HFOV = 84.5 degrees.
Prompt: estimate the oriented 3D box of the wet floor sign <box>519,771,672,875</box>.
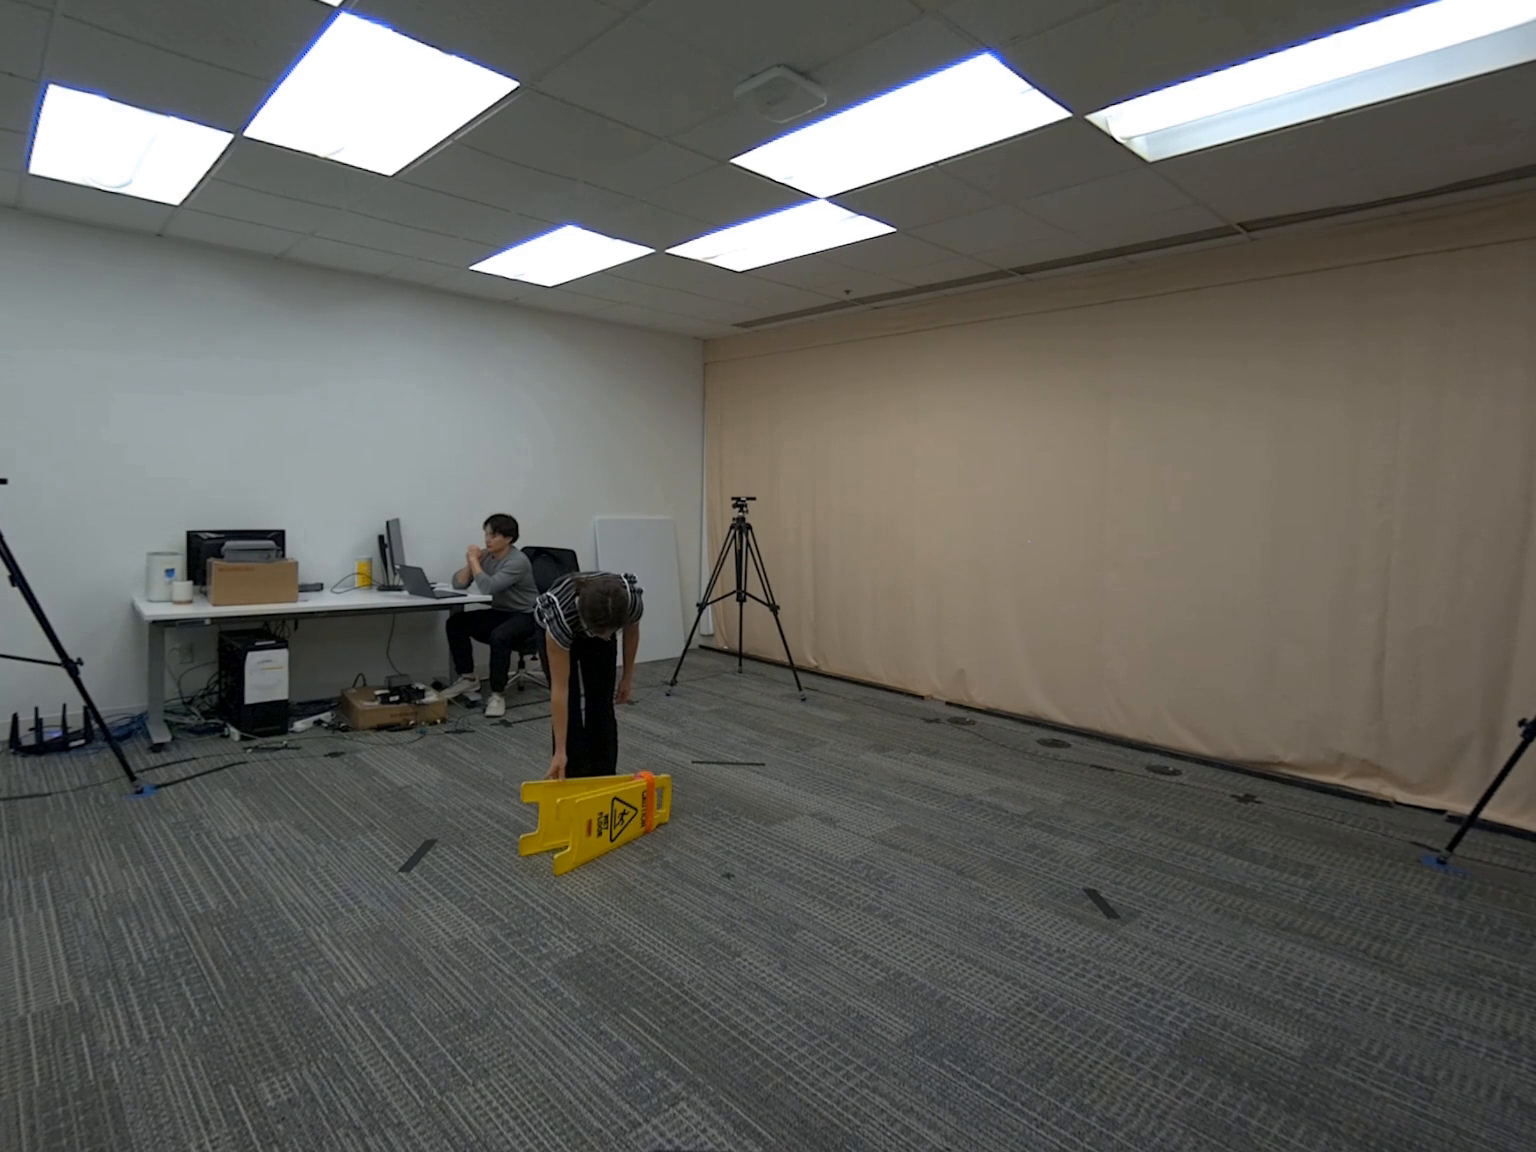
[{"bbox_3d":[-0.655,0.946,3.380,0.297,0.282,0.630,5,3,44],"label":"wet floor sign"}]
